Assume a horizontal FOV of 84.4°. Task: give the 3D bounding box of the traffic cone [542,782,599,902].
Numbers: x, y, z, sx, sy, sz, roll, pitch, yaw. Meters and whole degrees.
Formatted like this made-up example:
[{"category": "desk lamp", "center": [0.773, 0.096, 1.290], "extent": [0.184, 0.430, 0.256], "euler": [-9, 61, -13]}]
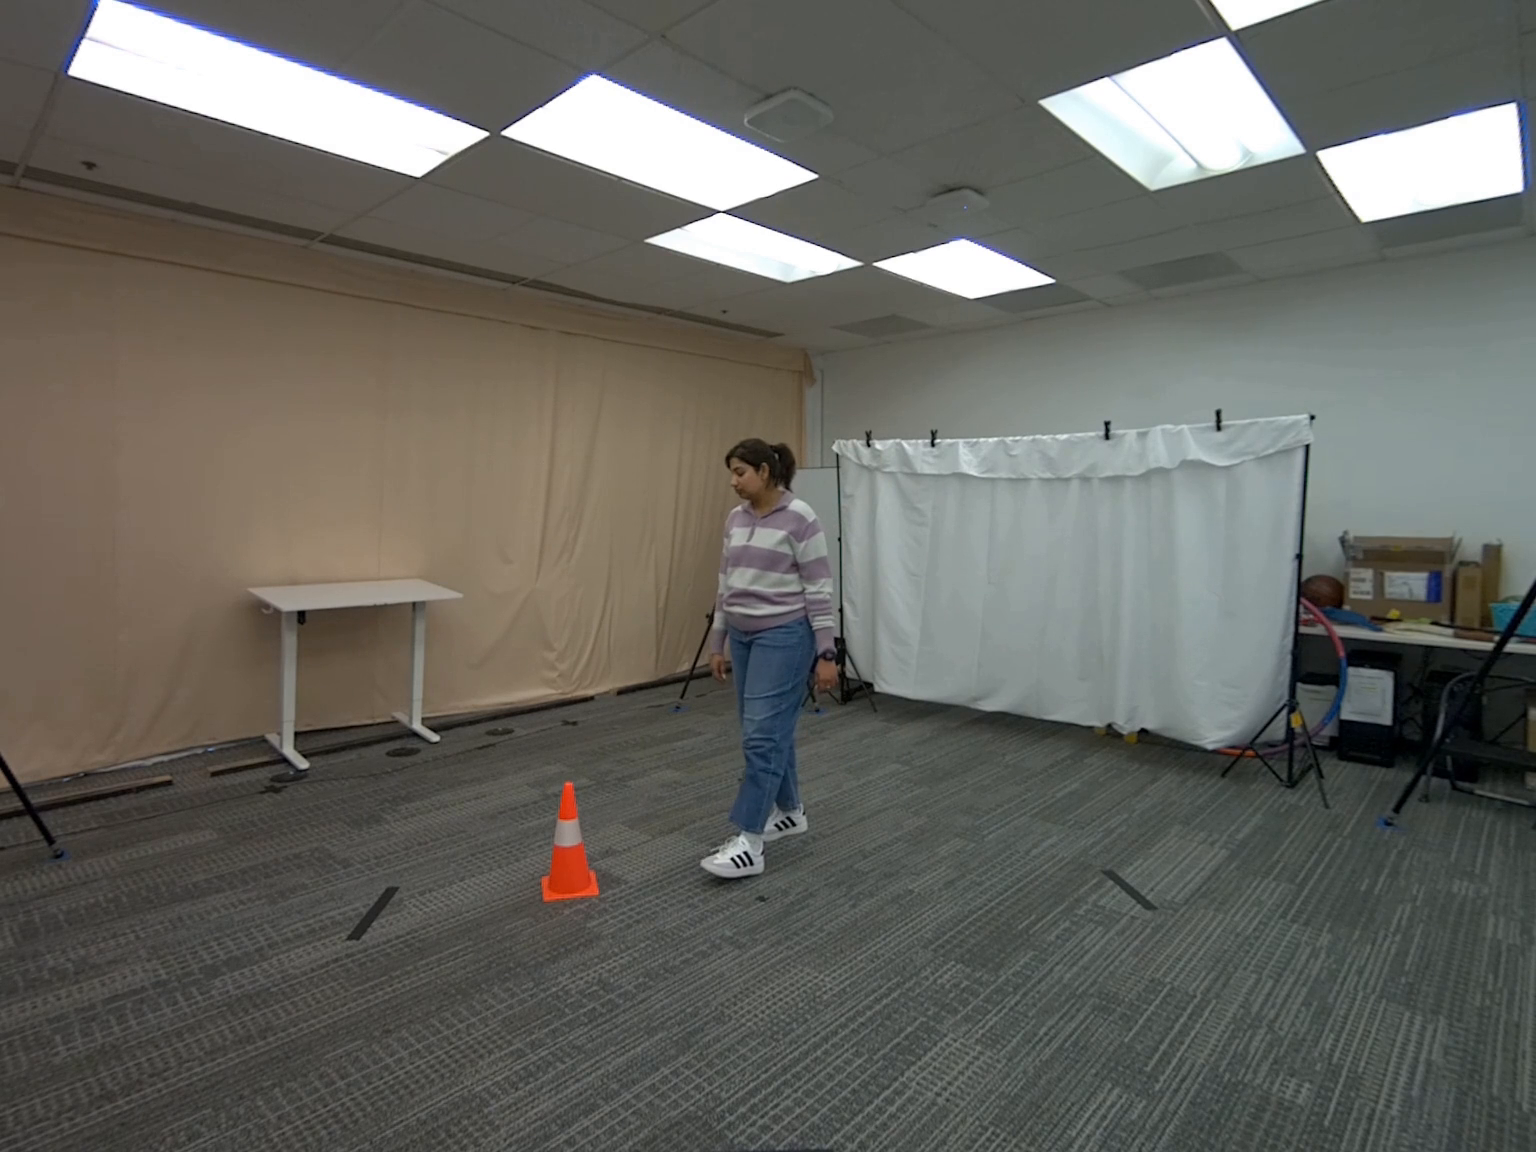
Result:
[{"category": "traffic cone", "center": [-0.735, 0.957, 3.095], "extent": [0.200, 0.383, 0.208], "euler": [-1, 1, -16]}]
